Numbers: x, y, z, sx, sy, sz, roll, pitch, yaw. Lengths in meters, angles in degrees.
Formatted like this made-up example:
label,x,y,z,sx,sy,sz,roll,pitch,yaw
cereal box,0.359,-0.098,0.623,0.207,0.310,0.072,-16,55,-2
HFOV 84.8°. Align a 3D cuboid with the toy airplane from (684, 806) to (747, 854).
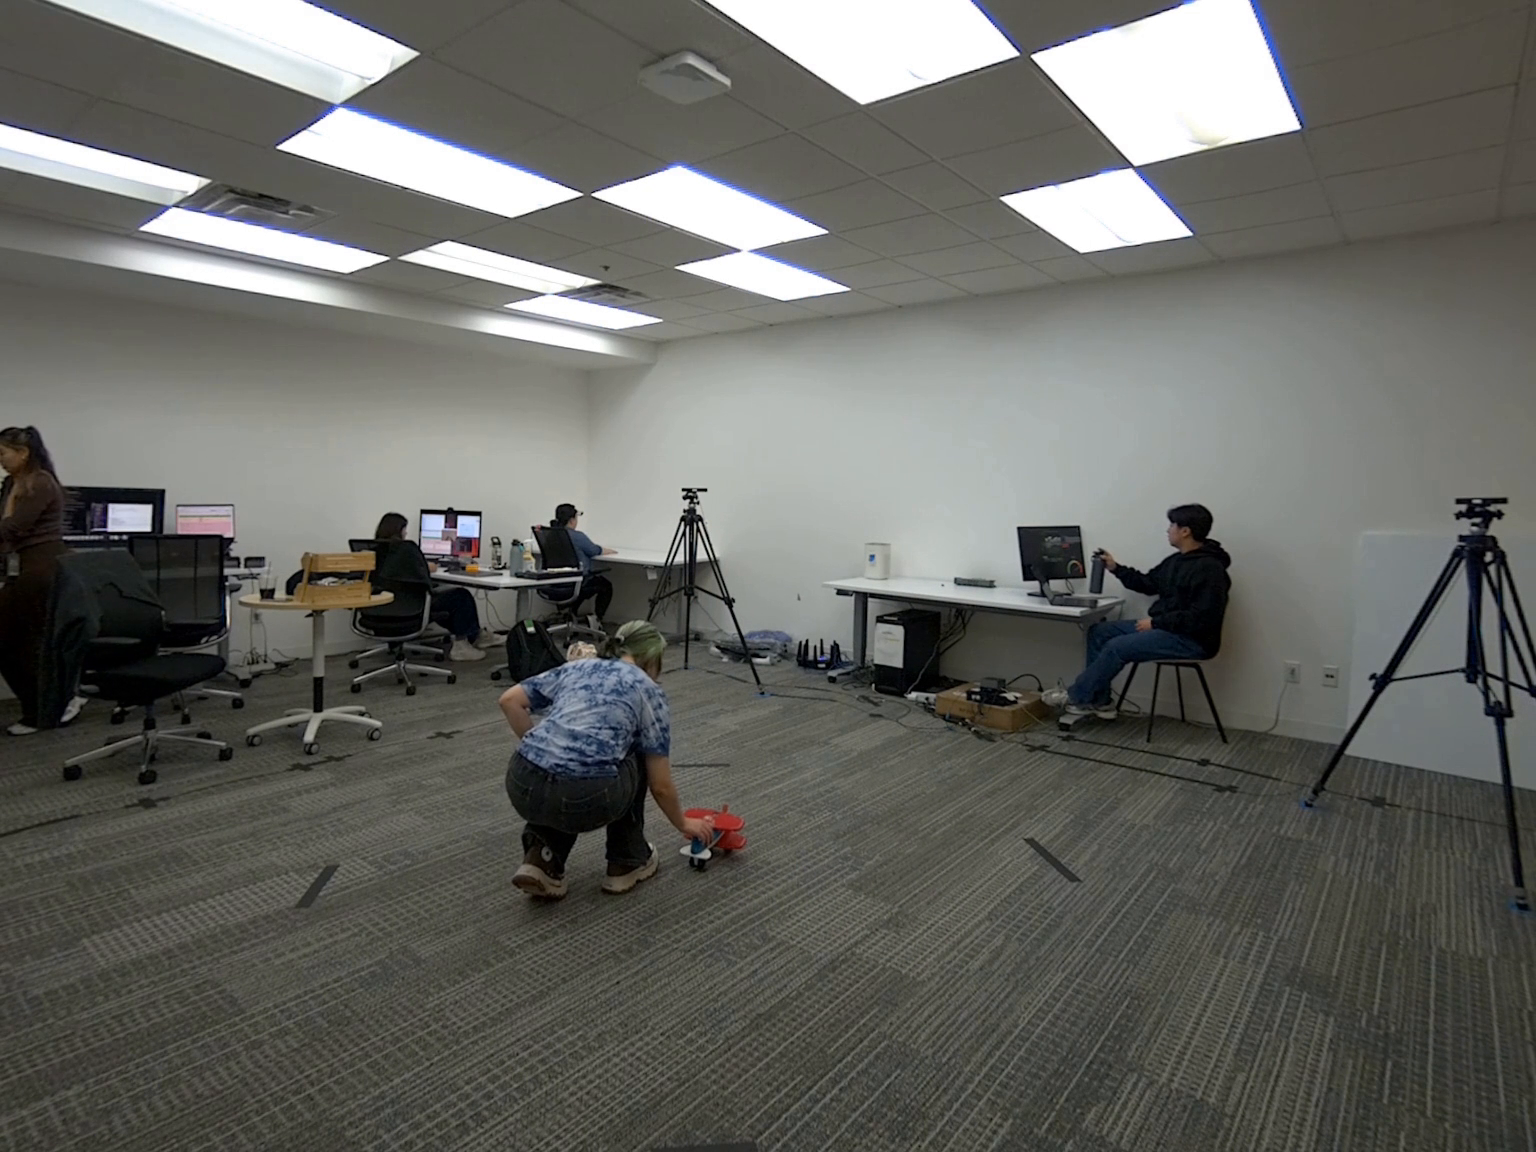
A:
label,x,y,z,sx,sy,sz,roll,pitch,yaw
toy airplane,-0.213,0.990,3.201,0.250,0.156,0.261,-1,3,-5
